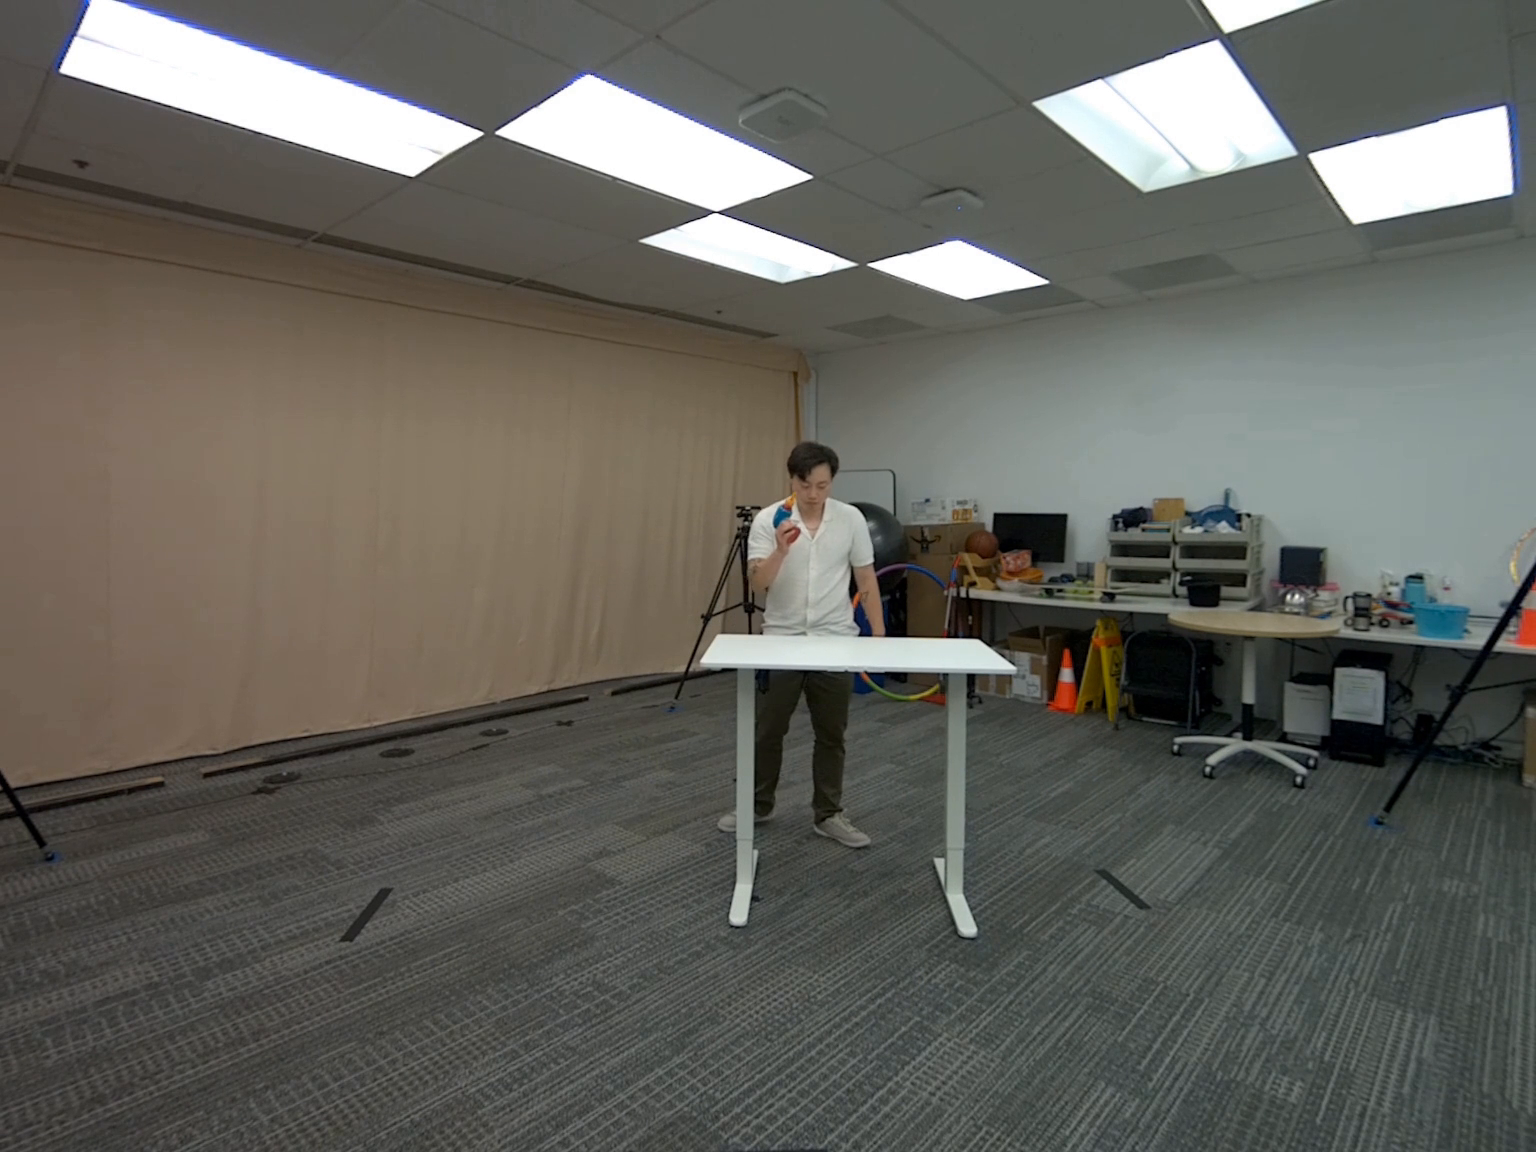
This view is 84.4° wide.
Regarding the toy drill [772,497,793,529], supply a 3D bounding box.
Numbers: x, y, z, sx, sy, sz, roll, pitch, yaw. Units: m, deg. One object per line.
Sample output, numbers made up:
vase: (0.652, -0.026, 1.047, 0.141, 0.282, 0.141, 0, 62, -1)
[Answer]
toy drill: (0.081, -0.220, 3.212, 0.059, 0.169, 0.151, 10, 32, -31)
